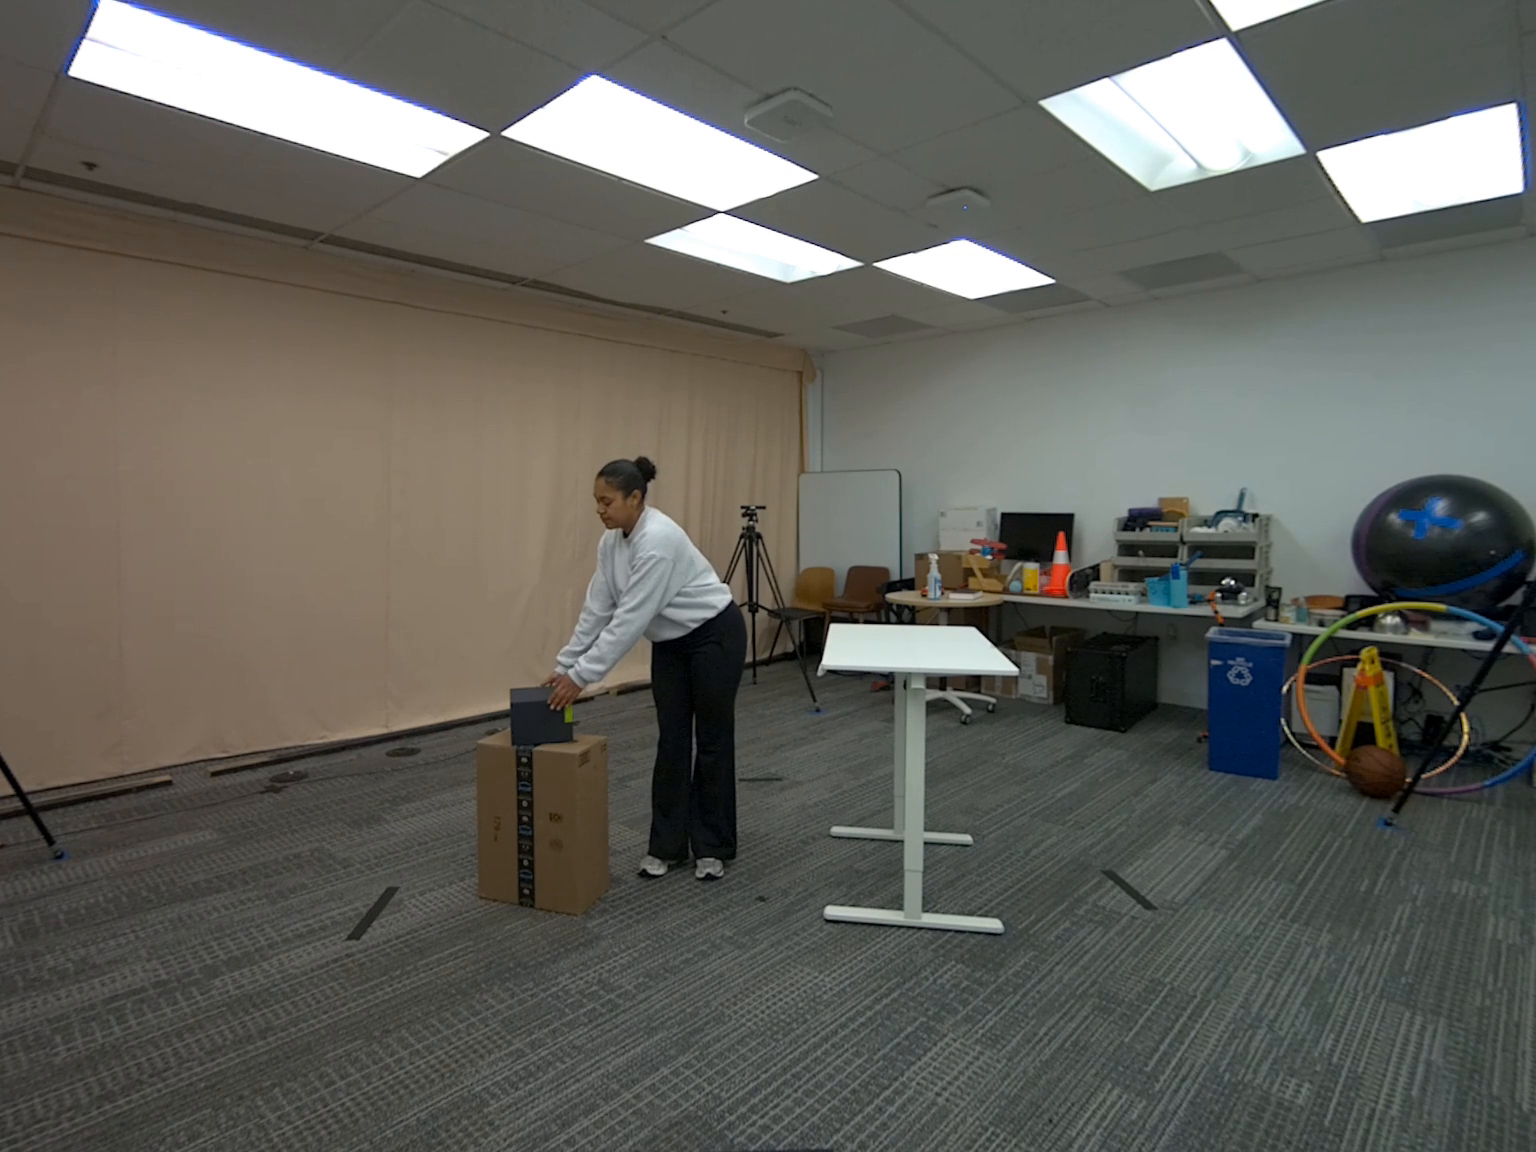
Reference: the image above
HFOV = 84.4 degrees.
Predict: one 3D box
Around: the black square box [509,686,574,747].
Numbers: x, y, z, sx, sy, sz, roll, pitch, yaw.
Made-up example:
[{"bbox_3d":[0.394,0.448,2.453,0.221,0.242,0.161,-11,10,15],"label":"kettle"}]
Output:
[{"bbox_3d":[-0.821,0.503,3.054,0.213,0.155,0.232,-2,4,-16],"label":"black square box"}]
